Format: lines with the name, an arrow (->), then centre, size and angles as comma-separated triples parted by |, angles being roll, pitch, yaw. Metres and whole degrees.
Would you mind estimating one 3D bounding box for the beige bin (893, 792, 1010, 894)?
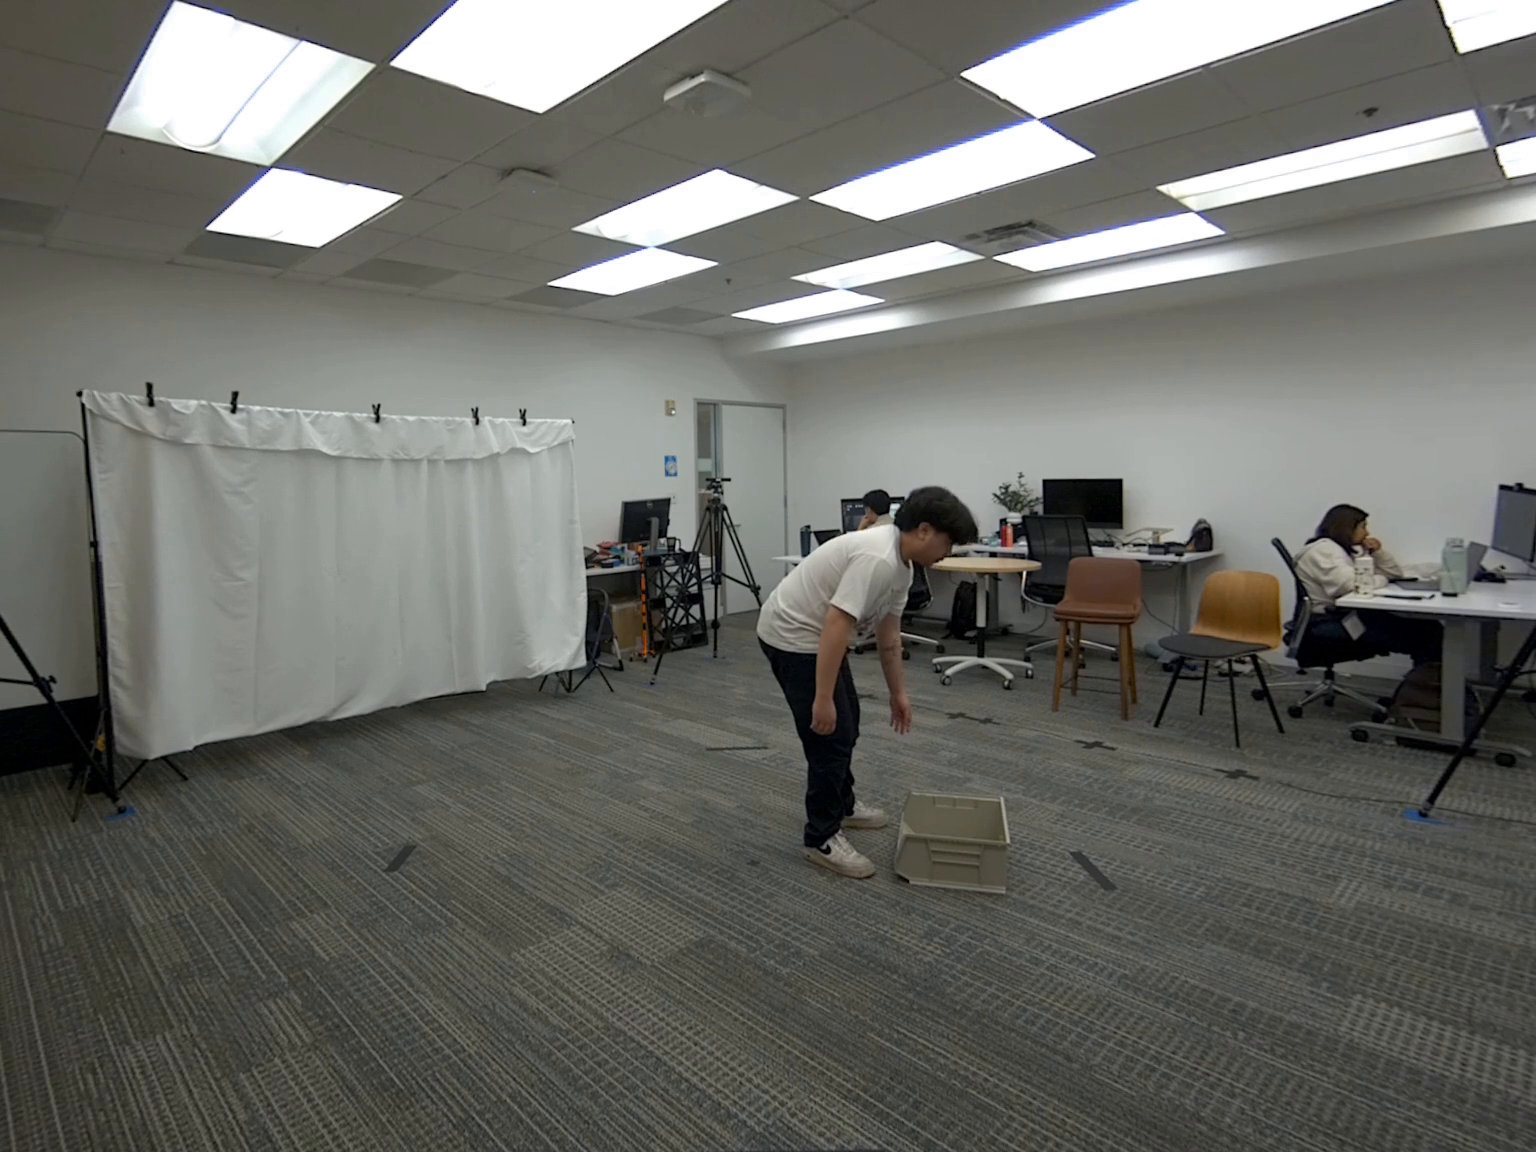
beige bin -> 0.656, 0.942, 3.074 | 0.383, 0.188, 0.418 | 1, 5, 13
